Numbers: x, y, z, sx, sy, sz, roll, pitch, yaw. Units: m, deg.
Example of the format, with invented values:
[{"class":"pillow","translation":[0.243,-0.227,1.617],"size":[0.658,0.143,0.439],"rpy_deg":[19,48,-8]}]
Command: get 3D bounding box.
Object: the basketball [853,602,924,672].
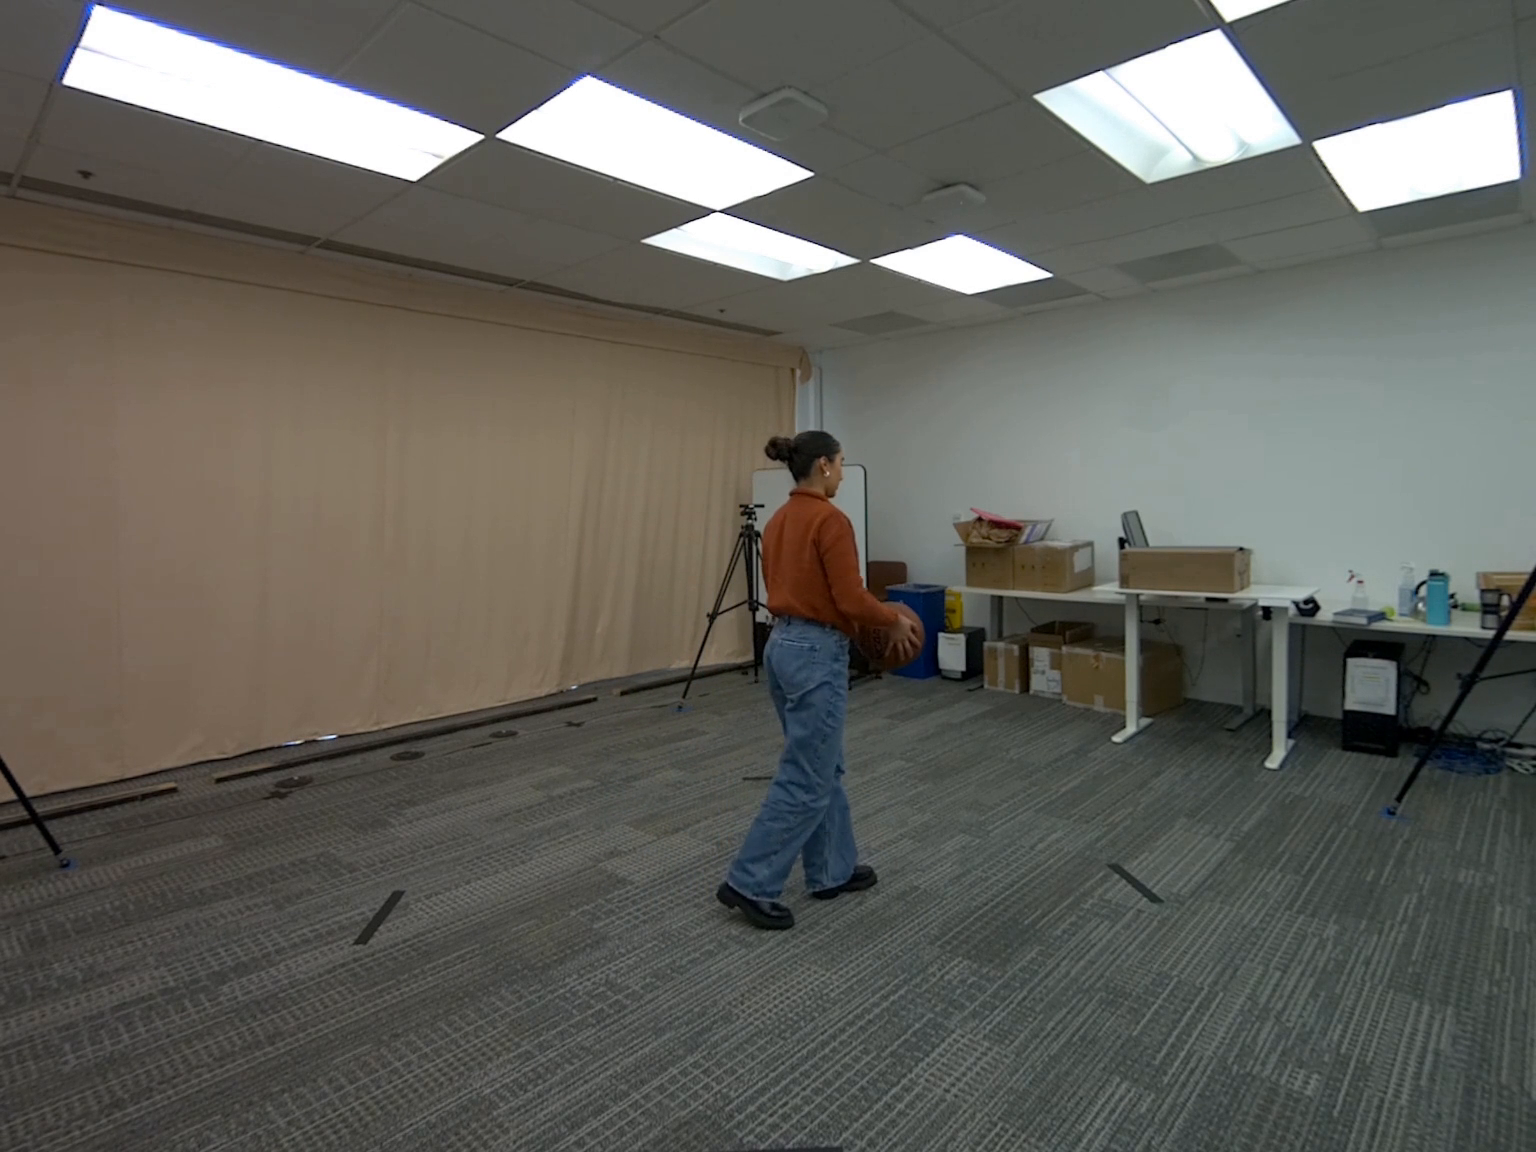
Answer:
[{"class":"basketball","translation":[0.437,0.209,2.988],"size":[0.236,0.235,0.237],"rpy_deg":[-1,4,-2]}]
